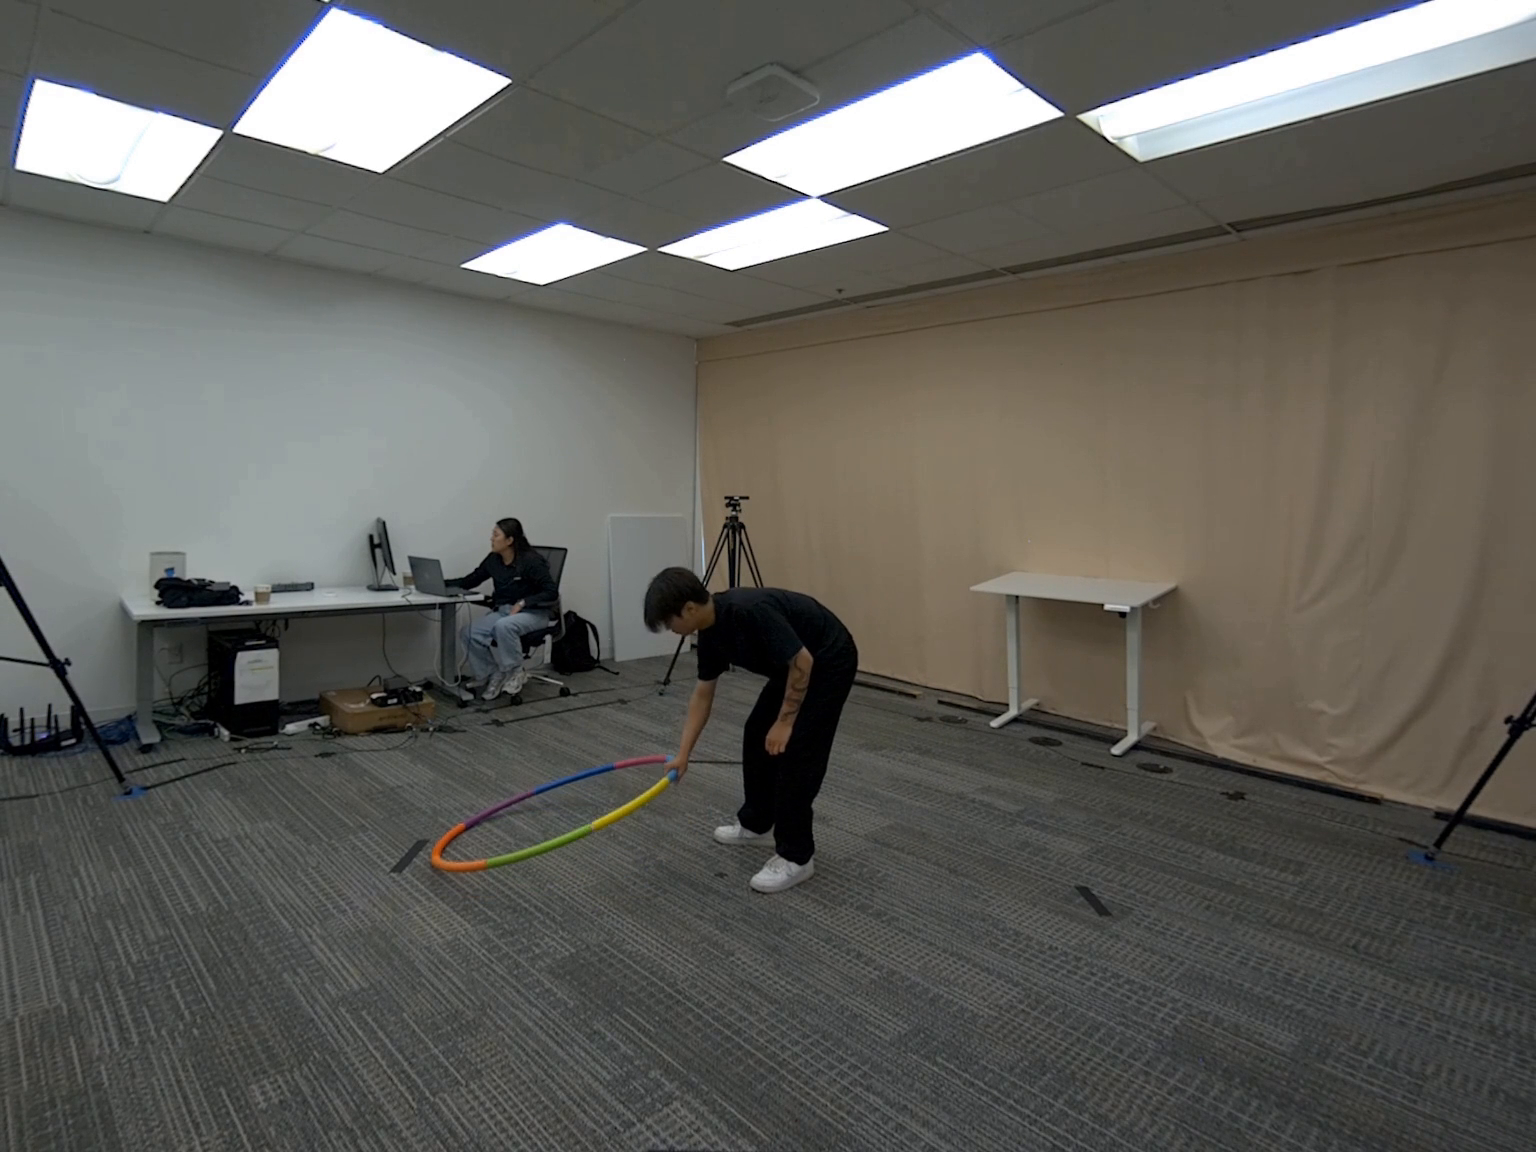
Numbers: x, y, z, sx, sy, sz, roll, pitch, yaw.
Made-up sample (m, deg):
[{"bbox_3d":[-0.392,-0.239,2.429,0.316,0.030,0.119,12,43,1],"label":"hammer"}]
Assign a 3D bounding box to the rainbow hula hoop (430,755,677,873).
[{"bbox_3d":[-0.831,0.902,3.282,0.978,0.035,0.980,-18,3,-1],"label":"rainbow hula hoop"}]
